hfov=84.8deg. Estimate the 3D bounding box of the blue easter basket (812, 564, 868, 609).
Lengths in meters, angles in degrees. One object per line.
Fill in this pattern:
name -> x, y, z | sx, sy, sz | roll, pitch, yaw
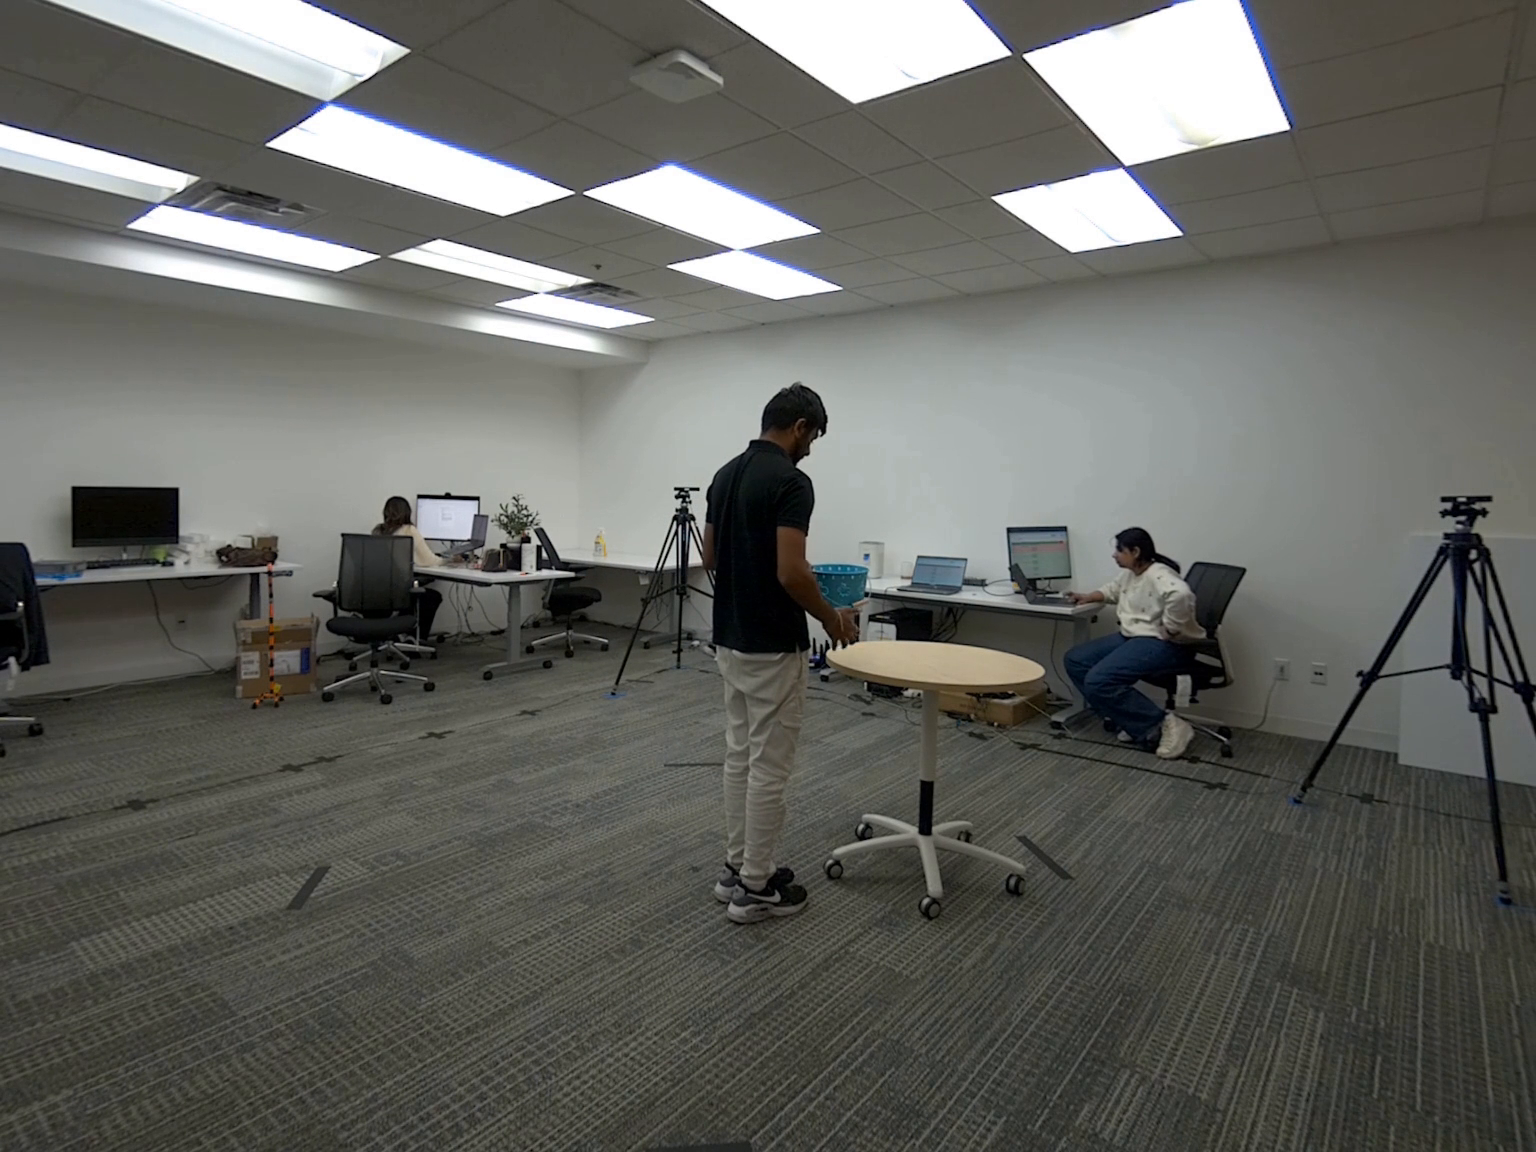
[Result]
blue easter basket -> 0.234, 0.053, 2.966 | 0.243, 0.155, 0.245 | -1, 6, -2
